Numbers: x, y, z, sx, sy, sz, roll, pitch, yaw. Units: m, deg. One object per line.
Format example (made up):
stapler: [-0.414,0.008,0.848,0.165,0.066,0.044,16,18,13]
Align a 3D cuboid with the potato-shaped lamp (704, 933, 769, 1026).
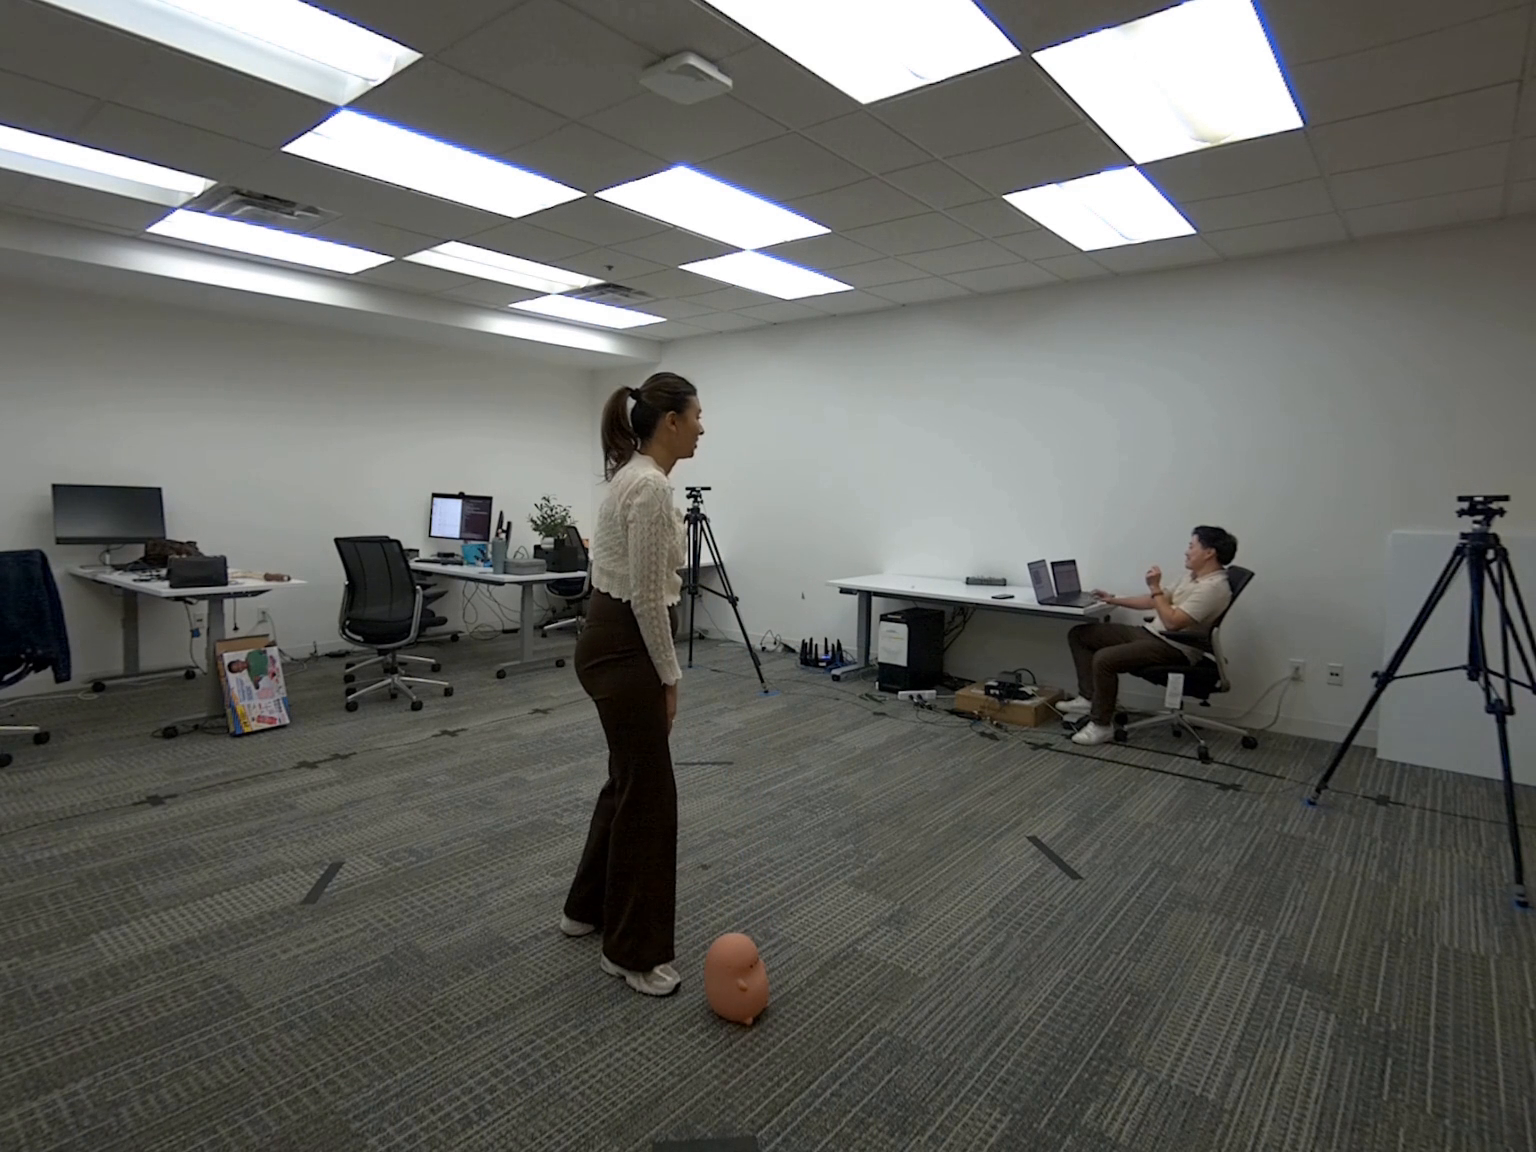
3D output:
potato-shaped lamp: [-0.085,1.055,2.267,0.177,0.197,0.160,11,5,29]
